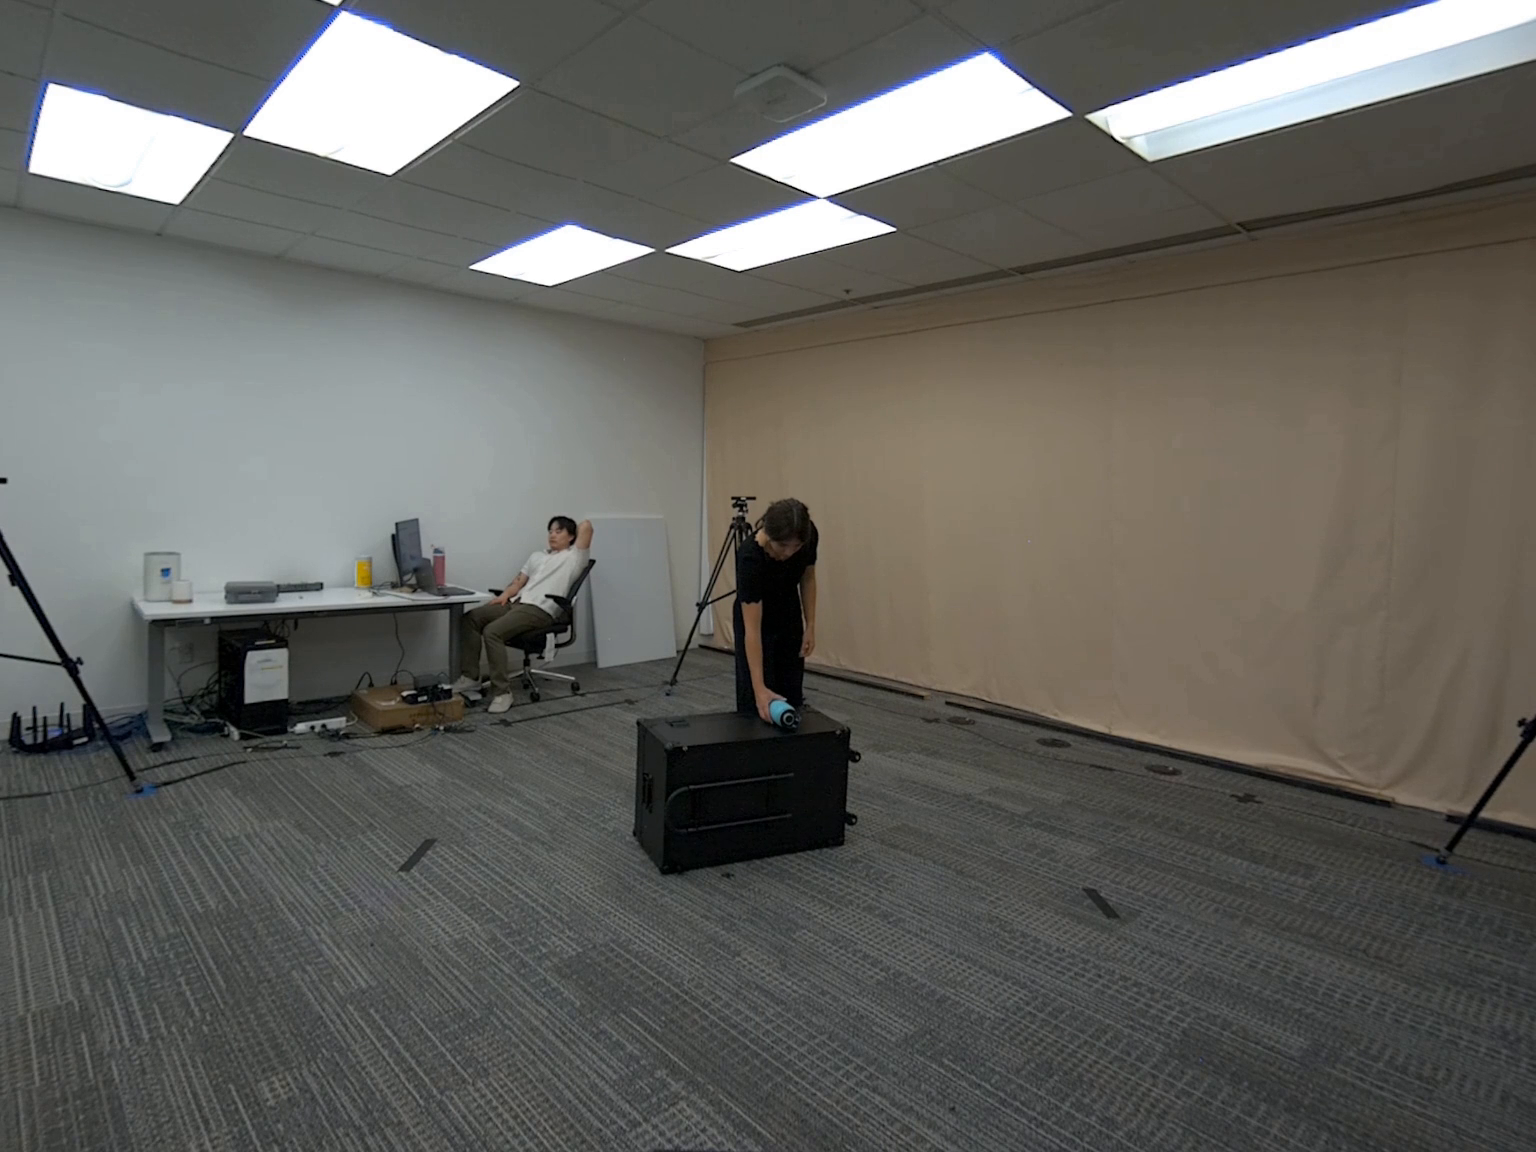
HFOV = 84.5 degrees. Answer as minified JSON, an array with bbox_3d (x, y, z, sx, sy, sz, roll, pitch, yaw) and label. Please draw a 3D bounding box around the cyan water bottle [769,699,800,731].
[{"bbox_3d":[0.030,0.546,3.417,0.091,0.092,0.289,0,9,-21],"label":"cyan water bottle"}]
